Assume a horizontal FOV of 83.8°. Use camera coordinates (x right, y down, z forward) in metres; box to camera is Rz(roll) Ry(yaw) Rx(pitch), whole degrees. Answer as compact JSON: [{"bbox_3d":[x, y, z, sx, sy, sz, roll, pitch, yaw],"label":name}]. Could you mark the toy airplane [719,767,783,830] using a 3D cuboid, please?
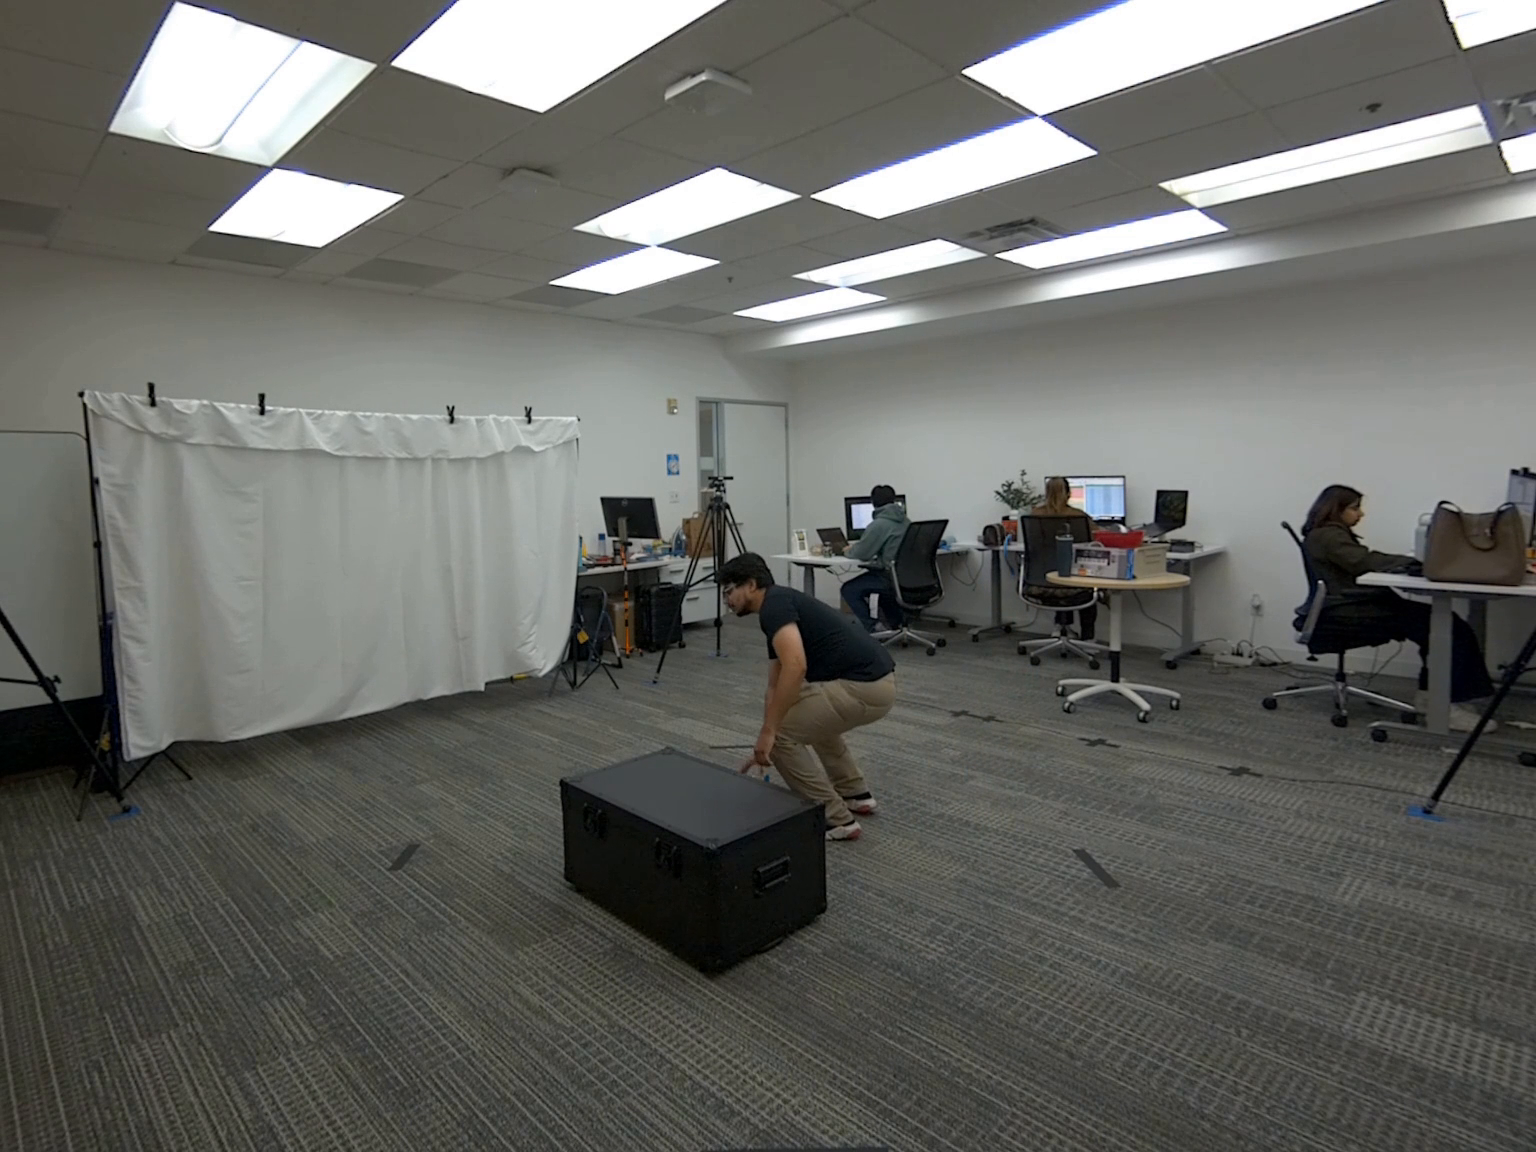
[{"bbox_3d":[-0.072,0.913,3.543,0.251,0.155,0.260,-1,7,1],"label":"toy airplane"}]
